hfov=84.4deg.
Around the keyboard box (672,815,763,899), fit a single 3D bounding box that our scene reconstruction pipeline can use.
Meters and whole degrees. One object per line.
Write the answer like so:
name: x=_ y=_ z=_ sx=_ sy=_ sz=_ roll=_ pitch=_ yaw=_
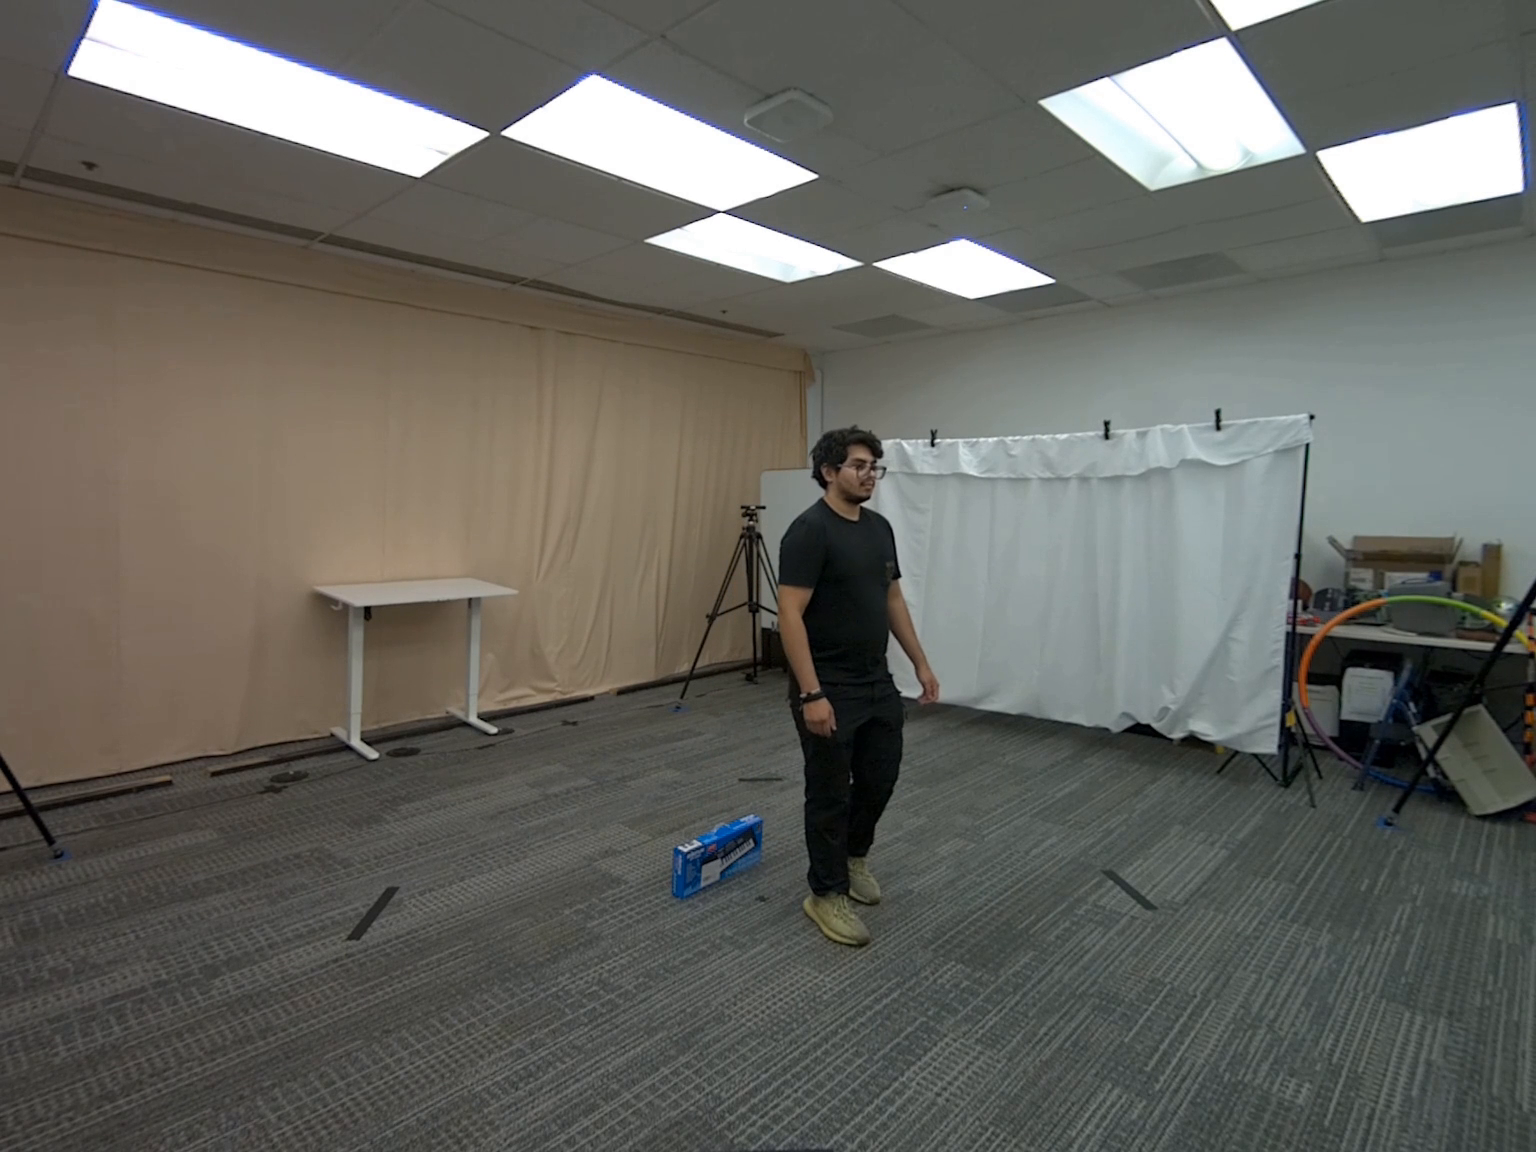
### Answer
keyboard box: x=-0.182 y=1.043 z=3.150 sx=0.061 sy=0.175 sz=0.424 roll=8 pitch=9 yaw=40
